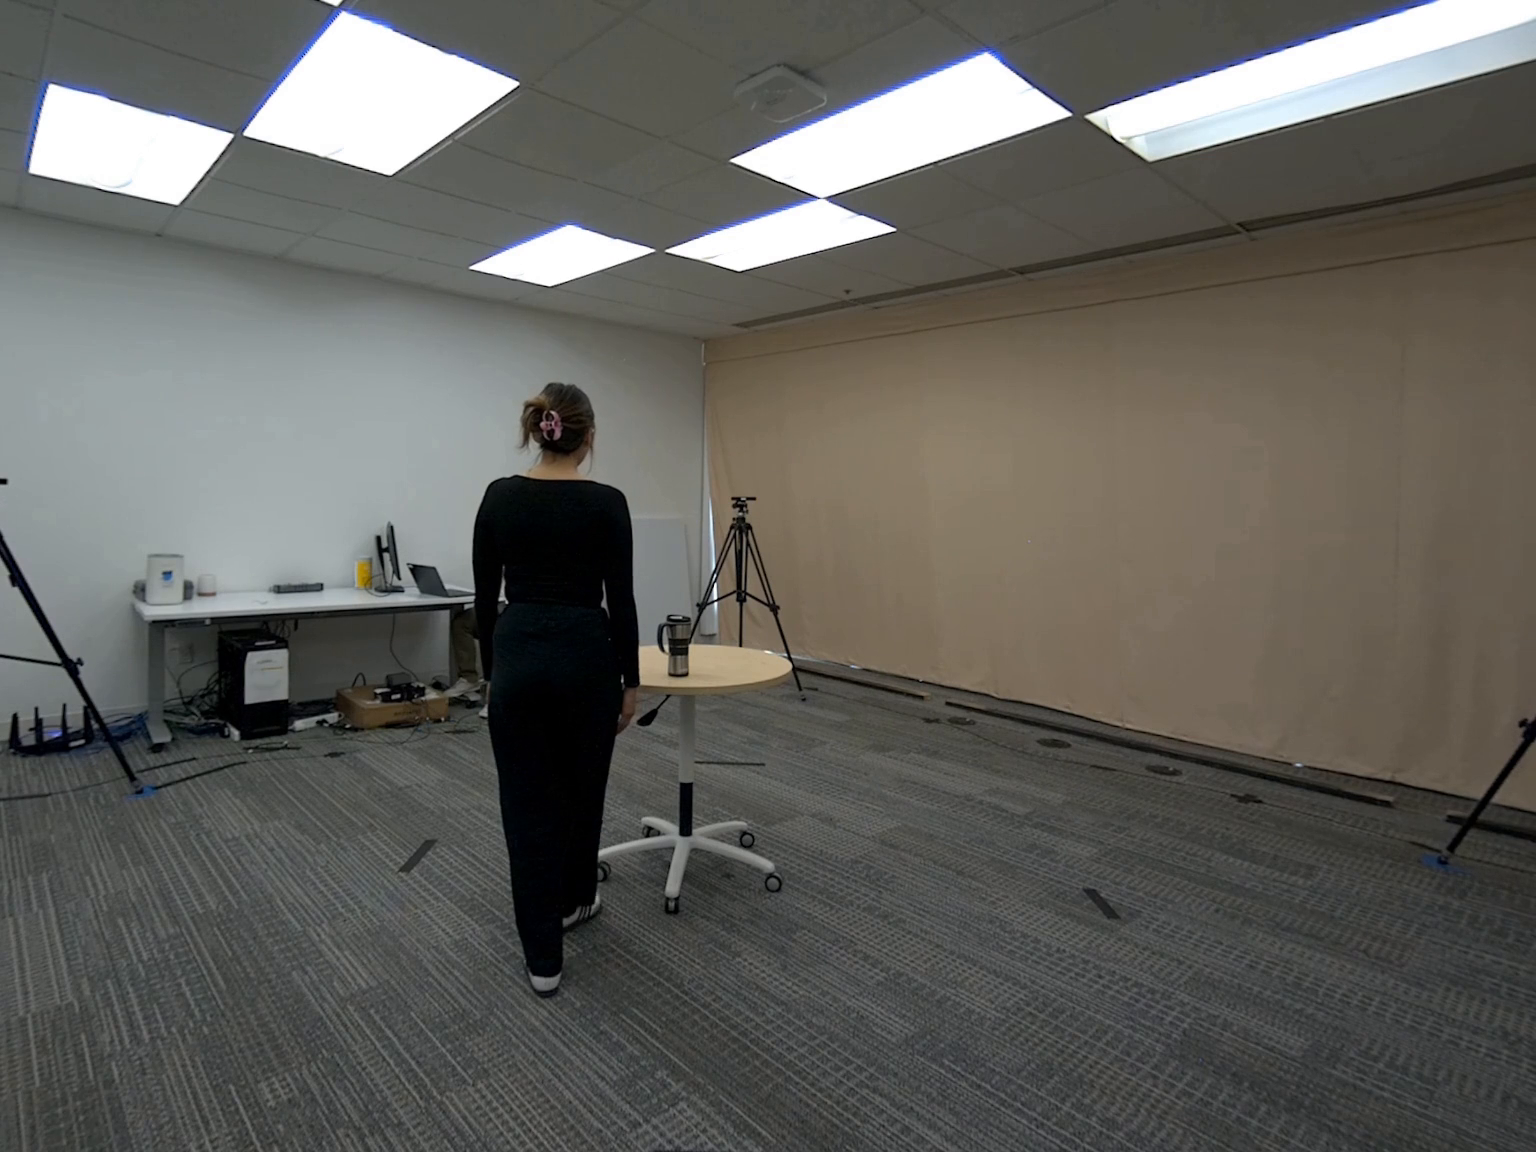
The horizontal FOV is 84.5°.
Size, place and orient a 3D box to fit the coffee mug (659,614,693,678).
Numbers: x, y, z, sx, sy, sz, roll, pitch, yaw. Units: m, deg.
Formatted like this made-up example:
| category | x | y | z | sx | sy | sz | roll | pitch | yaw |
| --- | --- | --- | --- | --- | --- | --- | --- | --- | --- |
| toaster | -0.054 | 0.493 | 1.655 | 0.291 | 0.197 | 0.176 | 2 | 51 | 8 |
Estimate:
| category | x | y | z | sx | sy | sz | roll | pitch | yaw |
| --- | --- | --- | --- | --- | --- | --- | --- | --- | --- |
| coffee mug | -0.334 | 0.243 | 2.866 | 0.119 | 0.202 | 0.090 | 3 | 7 | -28 |
